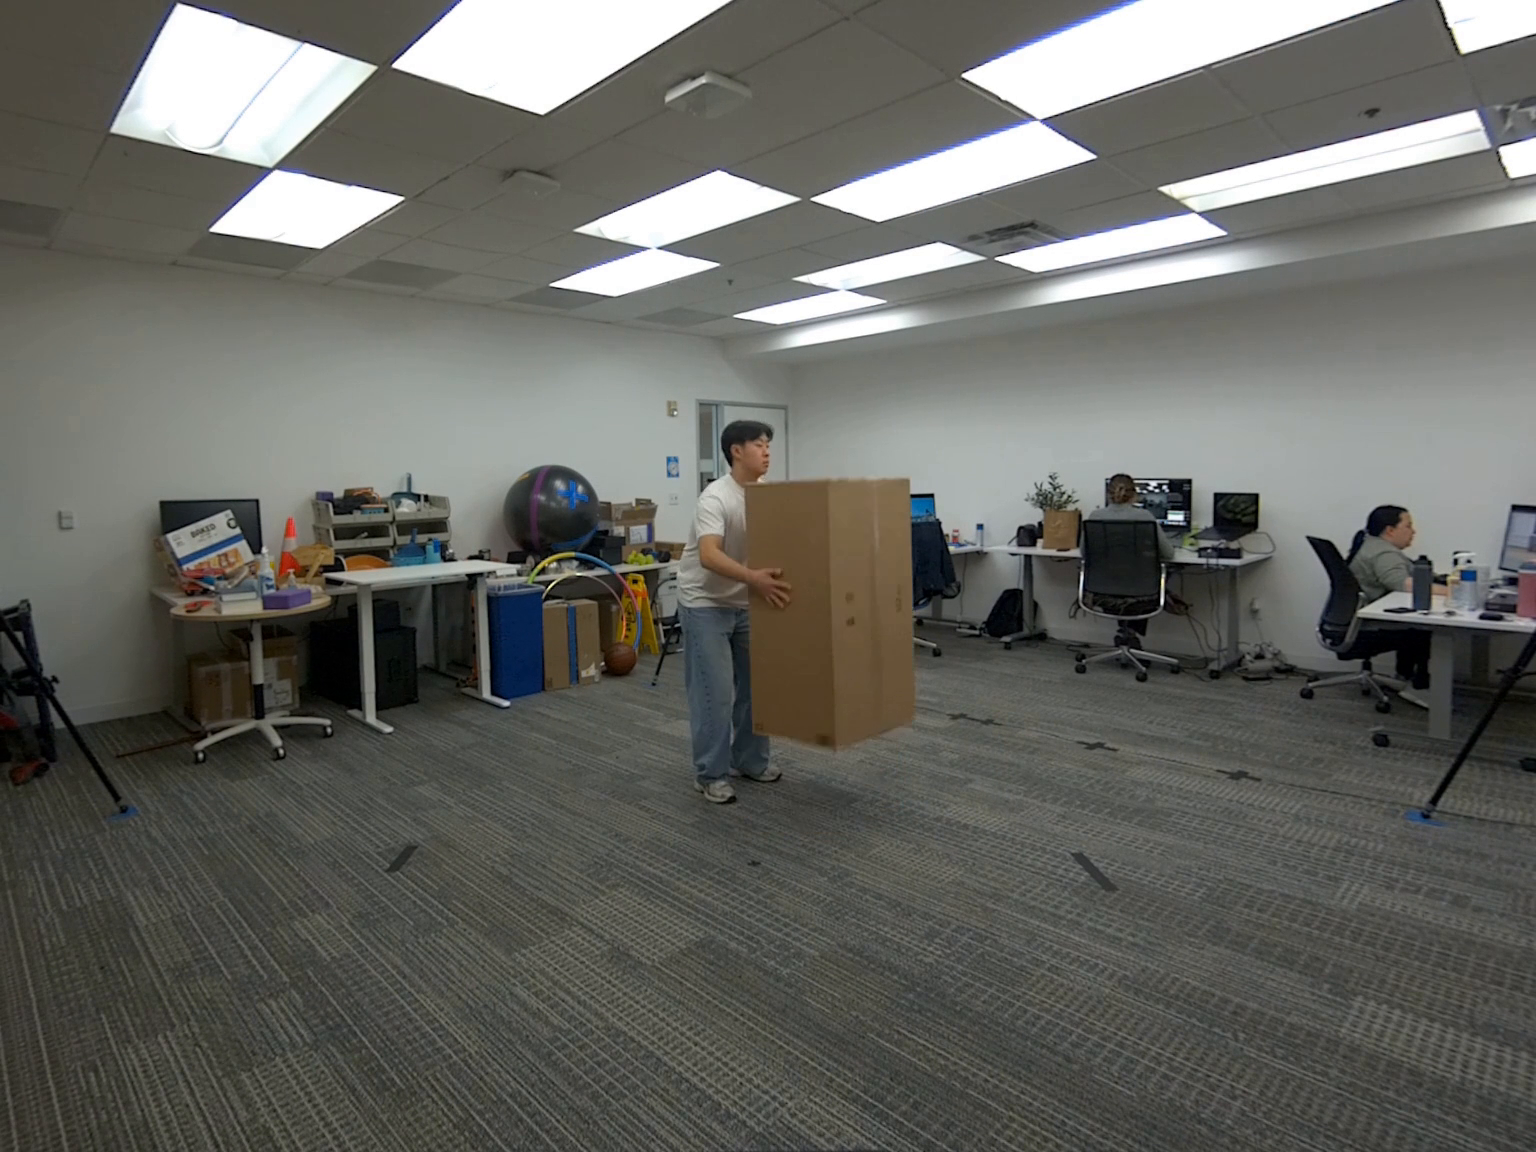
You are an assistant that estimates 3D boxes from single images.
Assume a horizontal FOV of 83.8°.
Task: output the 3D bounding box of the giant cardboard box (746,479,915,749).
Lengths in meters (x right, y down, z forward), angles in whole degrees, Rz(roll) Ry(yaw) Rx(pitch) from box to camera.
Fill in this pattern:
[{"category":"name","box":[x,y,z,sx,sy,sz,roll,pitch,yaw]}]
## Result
[{"category":"giant cardboard box","box":[0.261,0.103,3.522,0.439,1.023,0.562,0,4,43]}]
